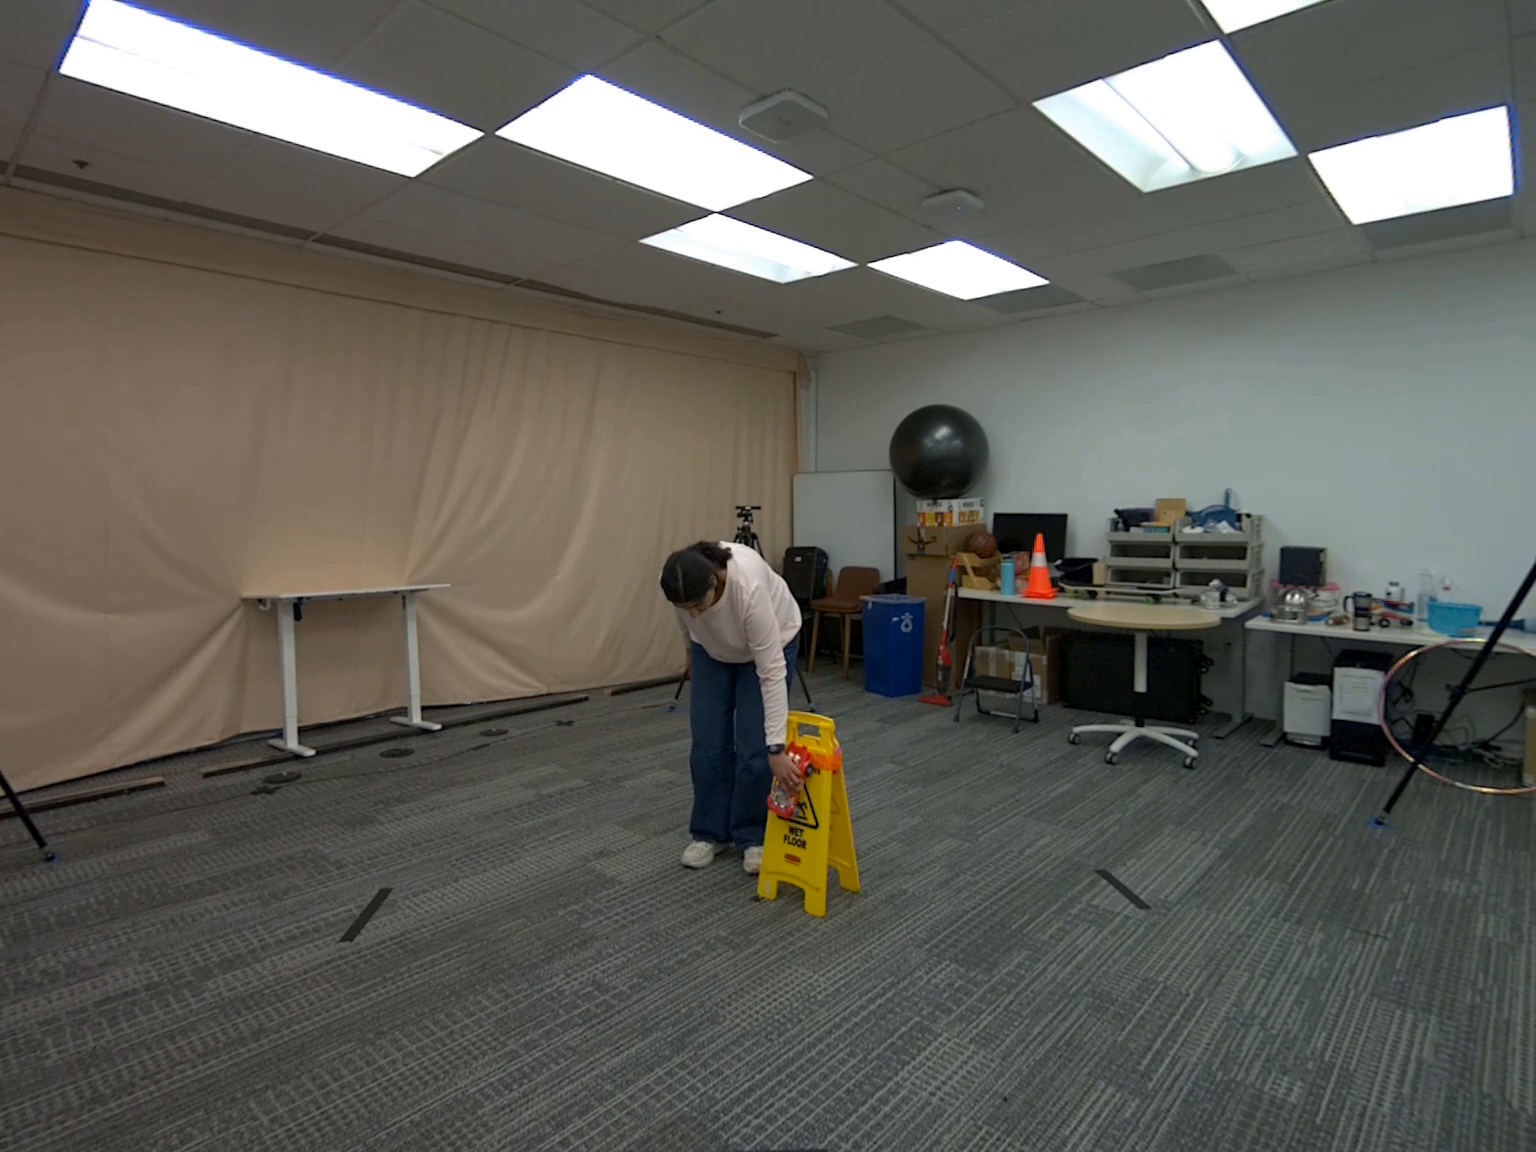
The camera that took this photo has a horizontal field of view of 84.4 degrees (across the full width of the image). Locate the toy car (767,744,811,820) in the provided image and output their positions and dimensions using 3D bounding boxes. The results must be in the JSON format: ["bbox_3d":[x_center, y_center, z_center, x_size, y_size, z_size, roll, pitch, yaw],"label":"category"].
[{"bbox_3d":[0.089,0.711,2.949,0.135,0.254,0.080,15,3,34],"label":"toy car"}]
